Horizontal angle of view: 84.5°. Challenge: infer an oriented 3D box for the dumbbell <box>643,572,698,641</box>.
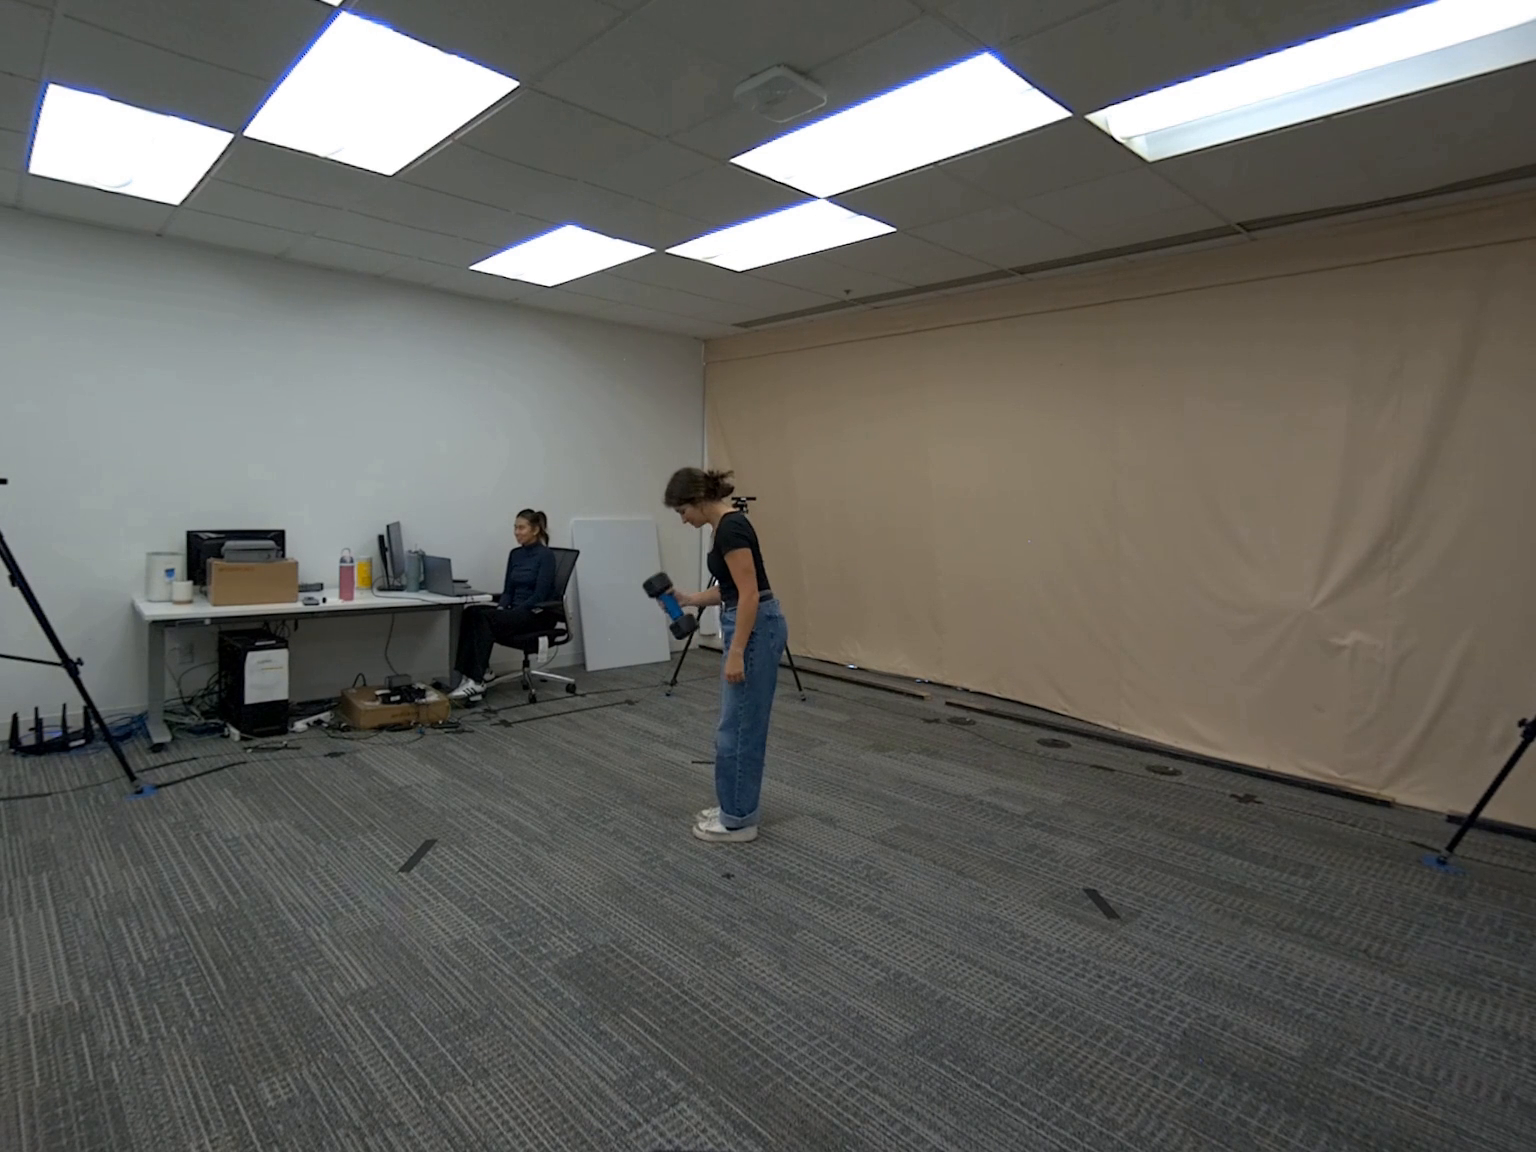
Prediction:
[{"bbox_3d":[-0.409,0.133,3.569,0.122,0.296,0.108,-31,-7,-21],"label":"dumbbell"}]
